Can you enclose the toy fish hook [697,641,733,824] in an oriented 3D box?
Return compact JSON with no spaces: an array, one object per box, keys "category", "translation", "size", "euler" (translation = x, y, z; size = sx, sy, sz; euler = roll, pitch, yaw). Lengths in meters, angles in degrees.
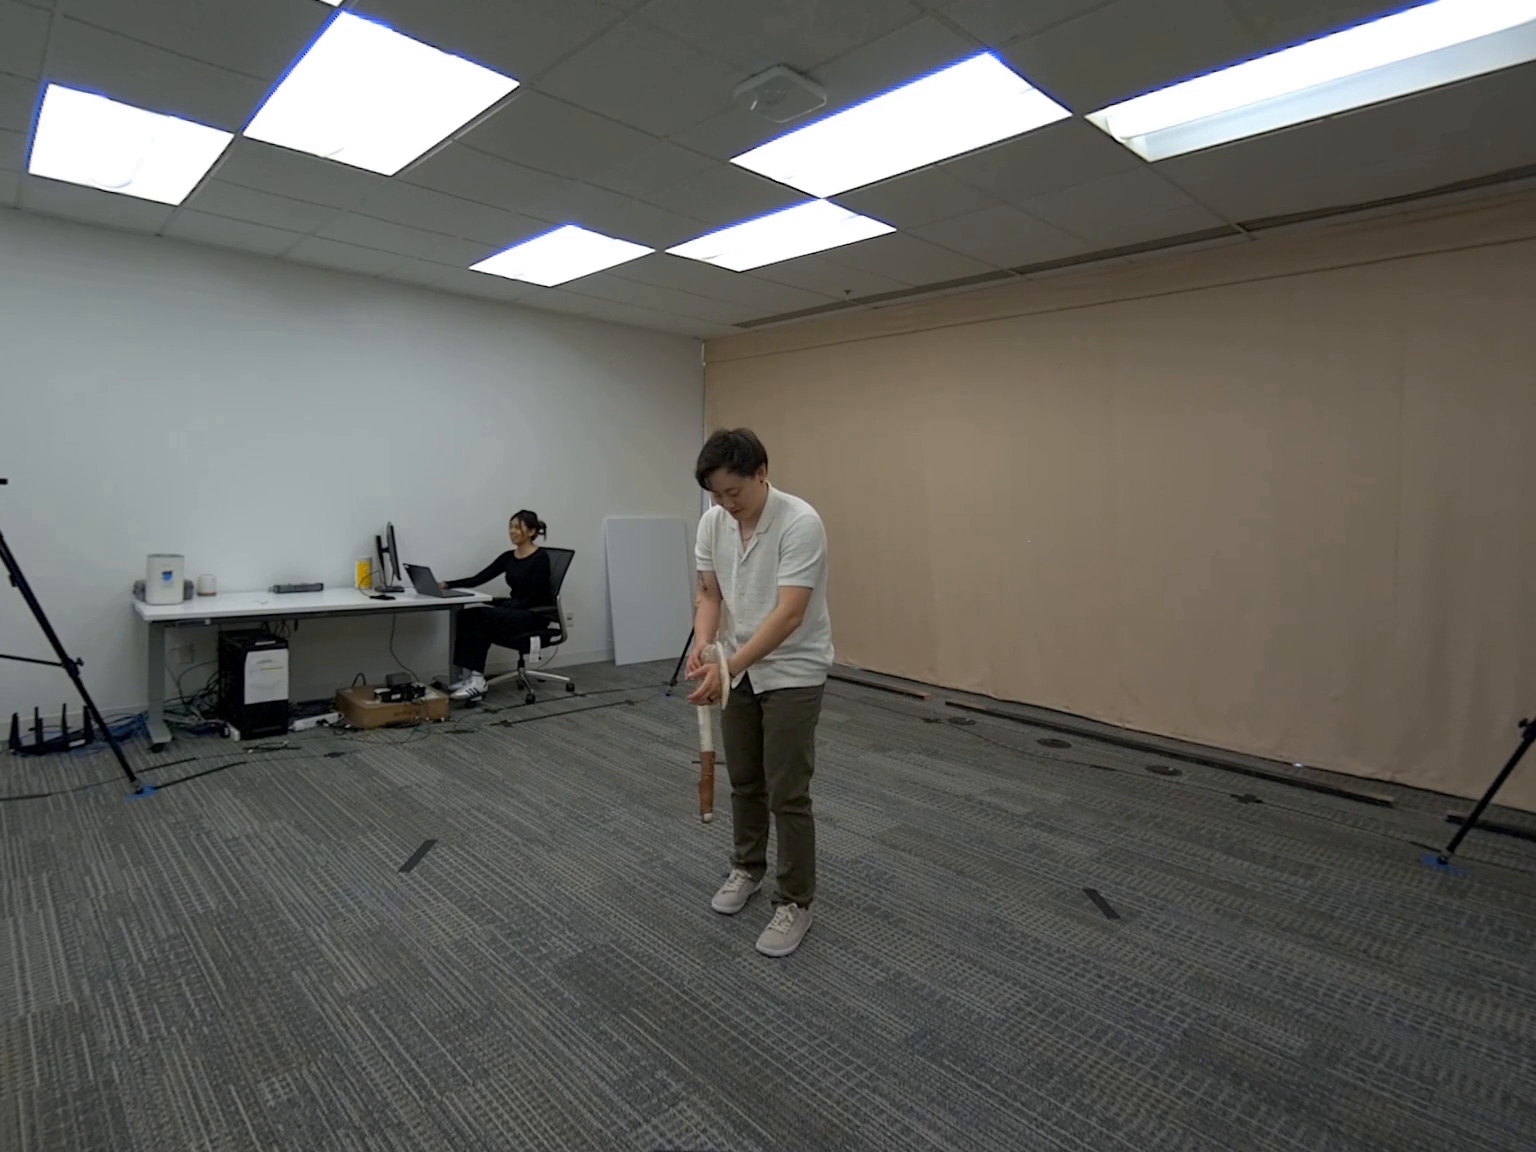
[{"category":"toy fish hook","translation":[-0.170,0.453,2.409],"size":[0.047,0.513,0.226],"euler":[3,-17,-24]}]
